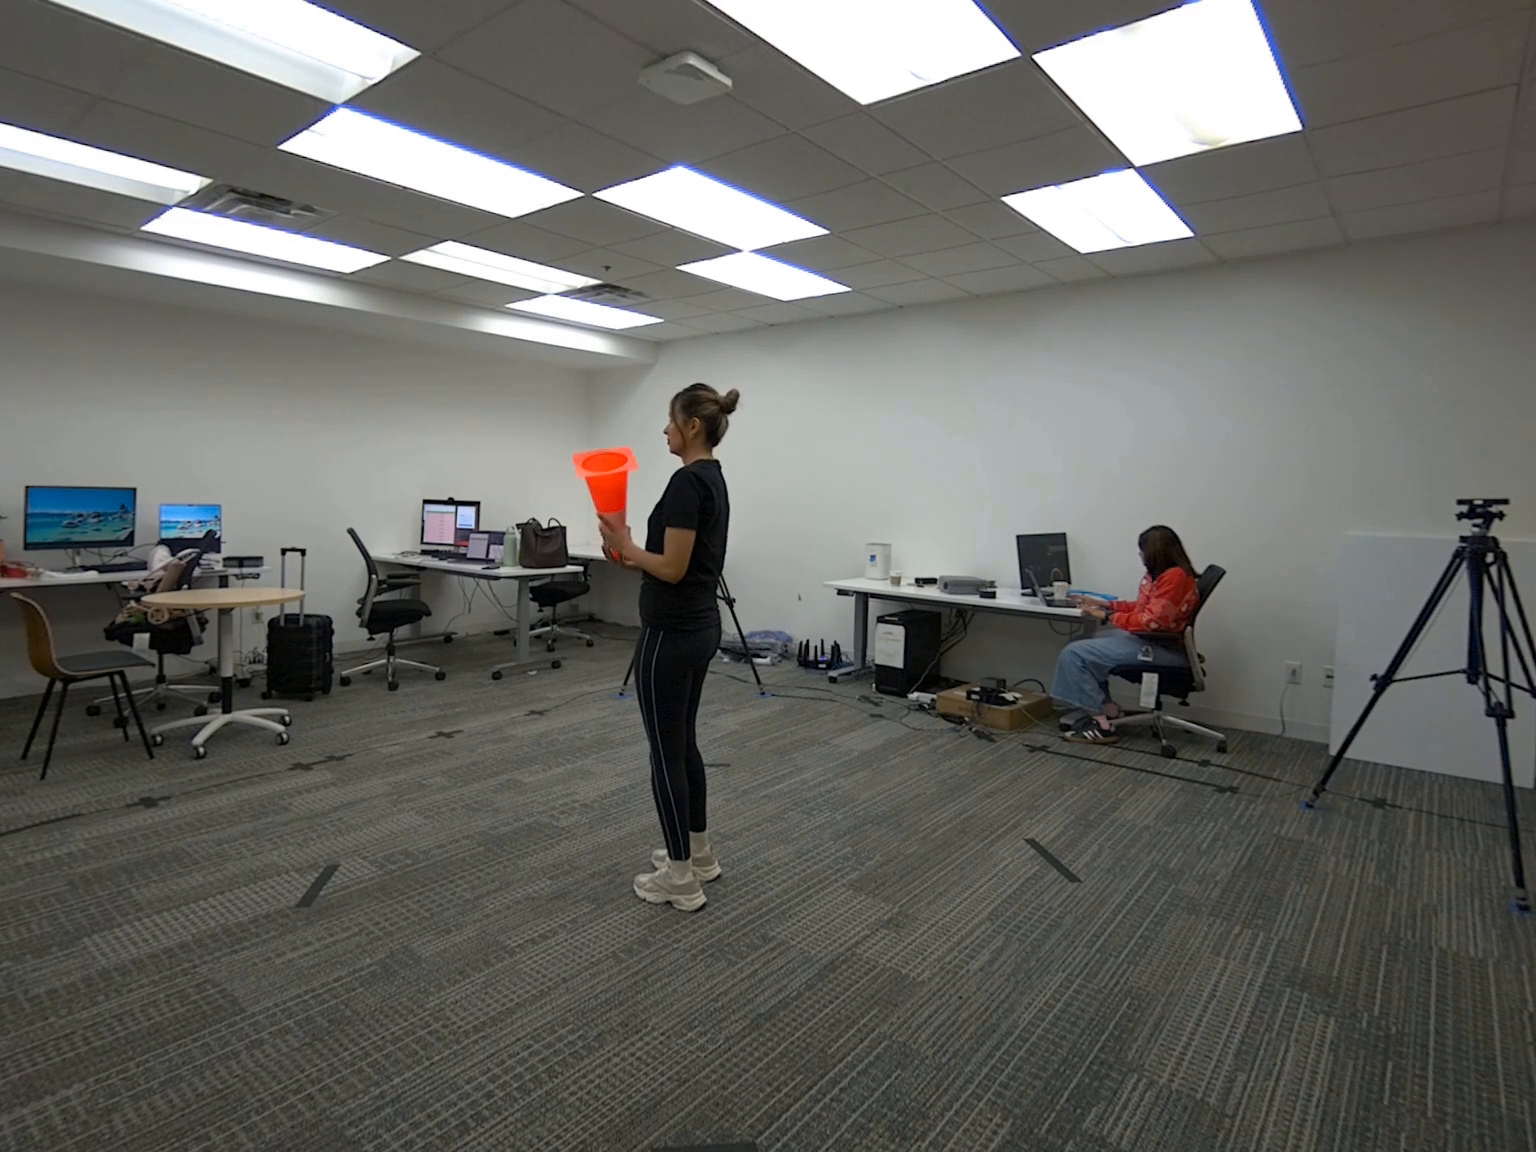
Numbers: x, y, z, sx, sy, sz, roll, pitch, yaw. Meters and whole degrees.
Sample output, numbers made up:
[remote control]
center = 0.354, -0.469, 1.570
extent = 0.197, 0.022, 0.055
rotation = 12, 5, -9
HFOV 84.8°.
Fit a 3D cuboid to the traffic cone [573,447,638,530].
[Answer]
[traffic cone]
center = -0.558, -0.211, 2.895
extent = 0.202, 0.374, 0.211
rotation = -7, 31, -15
